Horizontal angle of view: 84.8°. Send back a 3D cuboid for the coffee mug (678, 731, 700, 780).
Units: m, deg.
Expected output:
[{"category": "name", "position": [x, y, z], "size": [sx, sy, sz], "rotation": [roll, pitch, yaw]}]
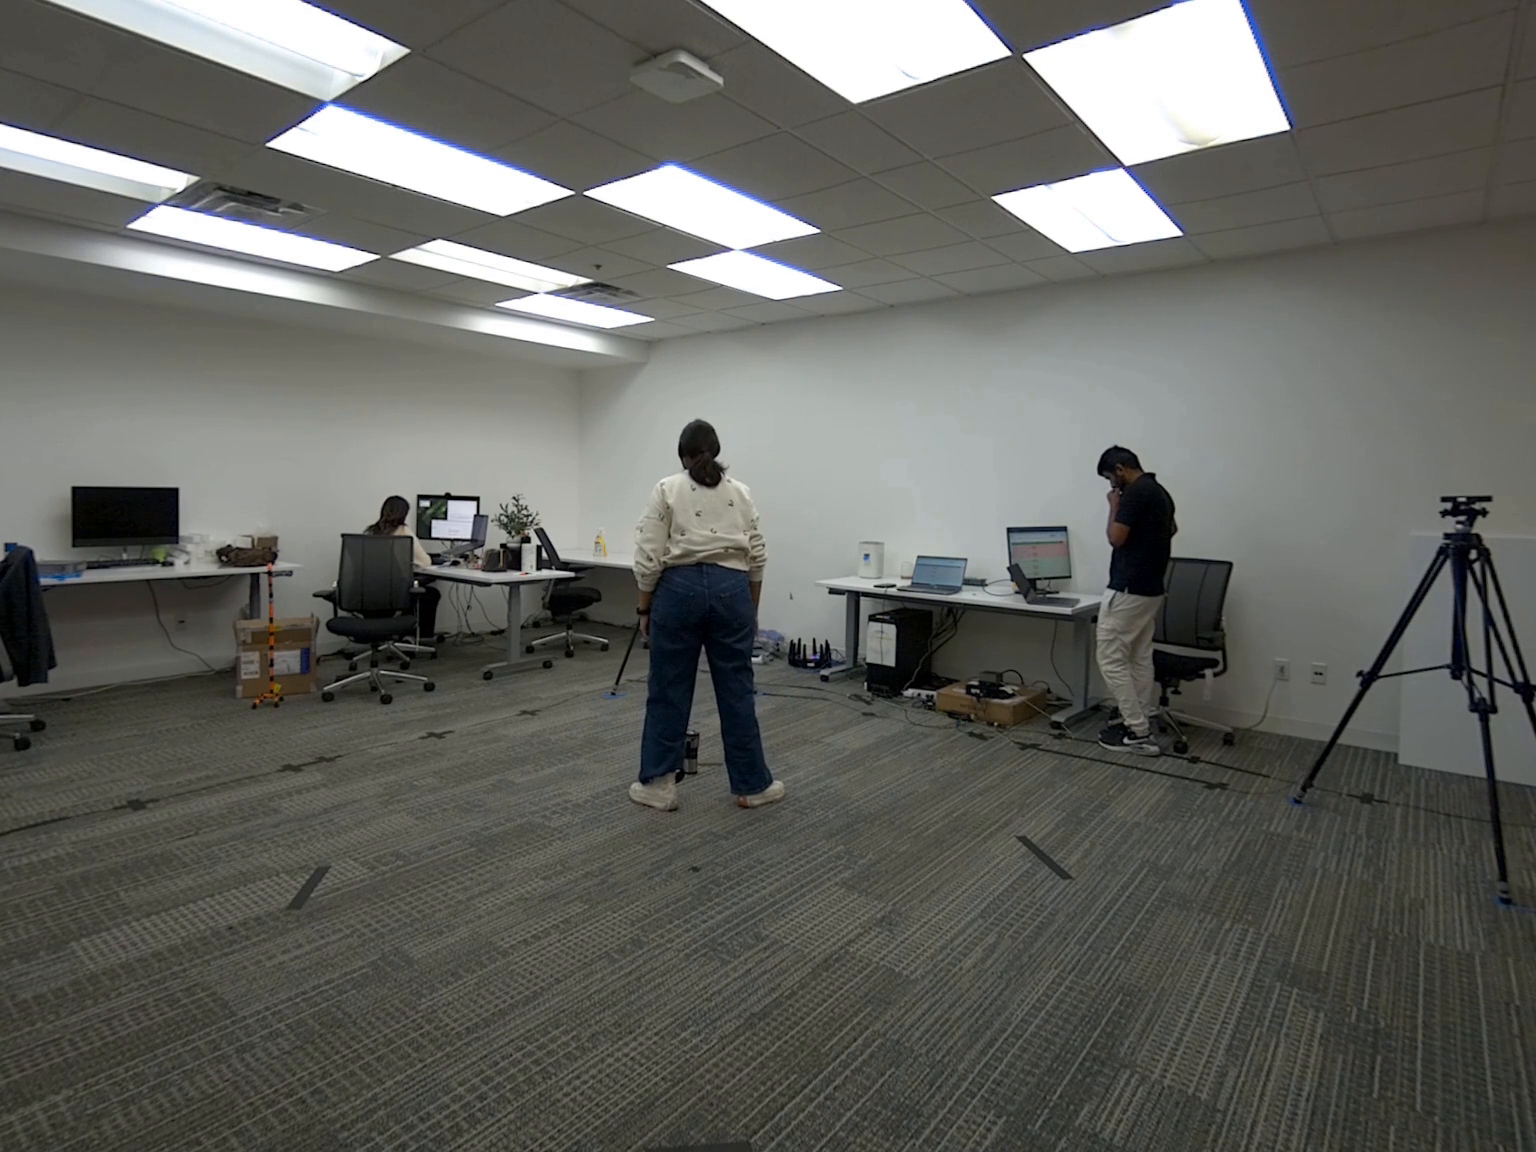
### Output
[{"category": "coffee mug", "position": [-0.405, 0.865, 4.161], "size": [0.091, 0.202, 0.118], "rotation": [7, 3, 38]}]
